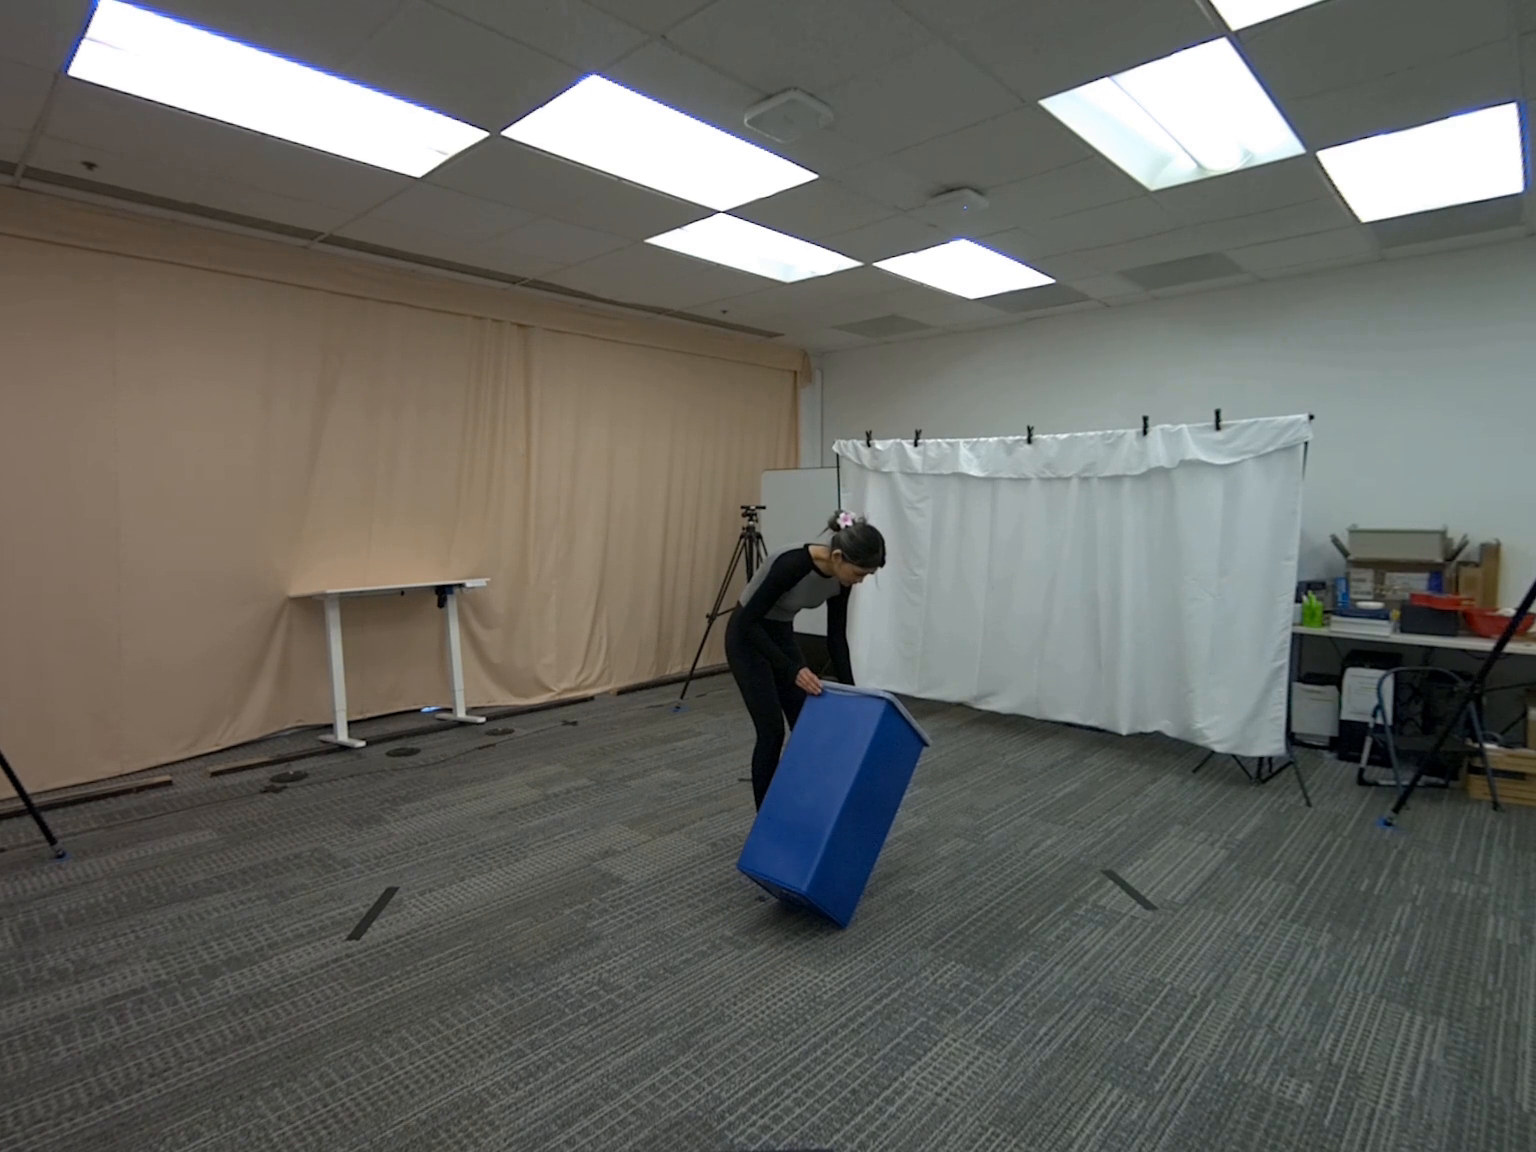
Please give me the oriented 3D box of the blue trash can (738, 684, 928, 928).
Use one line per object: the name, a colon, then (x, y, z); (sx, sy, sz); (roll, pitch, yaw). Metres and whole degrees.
blue trash can: (0.228, 0.773, 2.932); (0.390, 0.714, 0.362); (3, -35, 42)
